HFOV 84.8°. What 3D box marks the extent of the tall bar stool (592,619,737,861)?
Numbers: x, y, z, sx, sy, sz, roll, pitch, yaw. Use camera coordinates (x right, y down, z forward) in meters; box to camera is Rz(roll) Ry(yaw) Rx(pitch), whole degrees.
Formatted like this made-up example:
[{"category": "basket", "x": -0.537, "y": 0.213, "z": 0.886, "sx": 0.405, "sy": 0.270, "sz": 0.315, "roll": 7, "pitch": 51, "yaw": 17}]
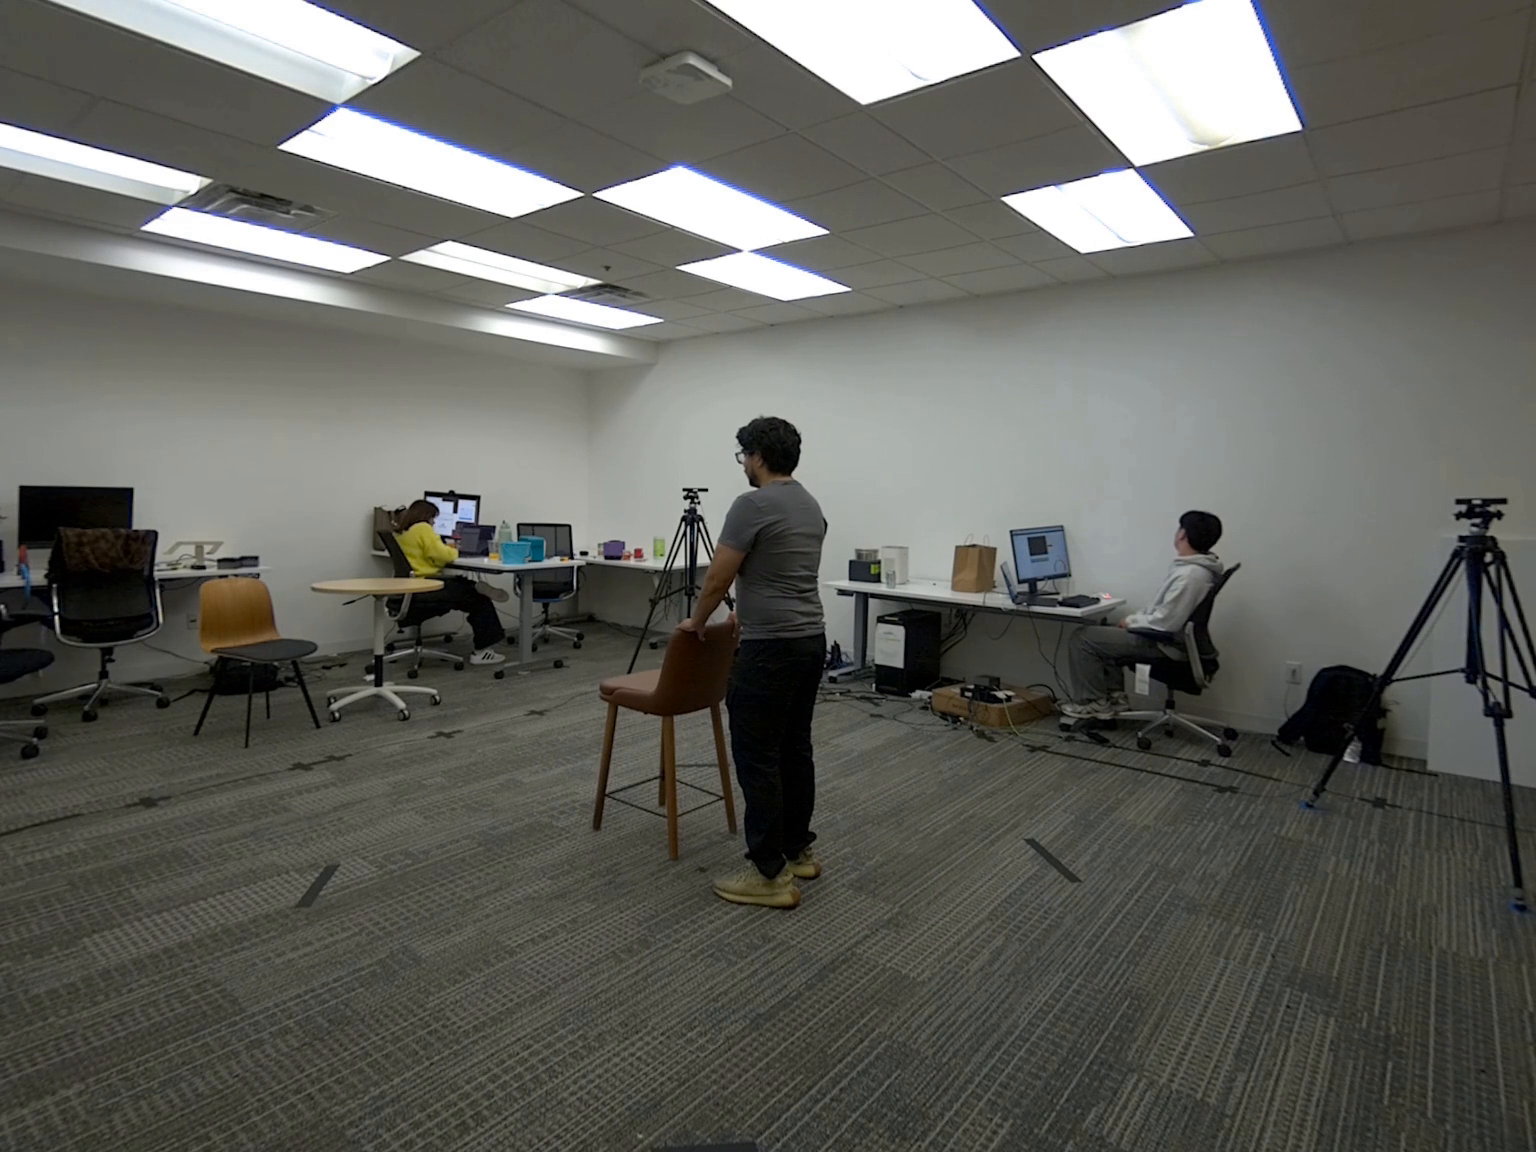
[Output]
[{"category": "tall bar stool", "x": -0.409, "y": 0.597, "z": 3.438, "sx": 0.484, "sy": 0.887, "sz": 0.443, "roll": 6, "pitch": 5, "yaw": 39}]
